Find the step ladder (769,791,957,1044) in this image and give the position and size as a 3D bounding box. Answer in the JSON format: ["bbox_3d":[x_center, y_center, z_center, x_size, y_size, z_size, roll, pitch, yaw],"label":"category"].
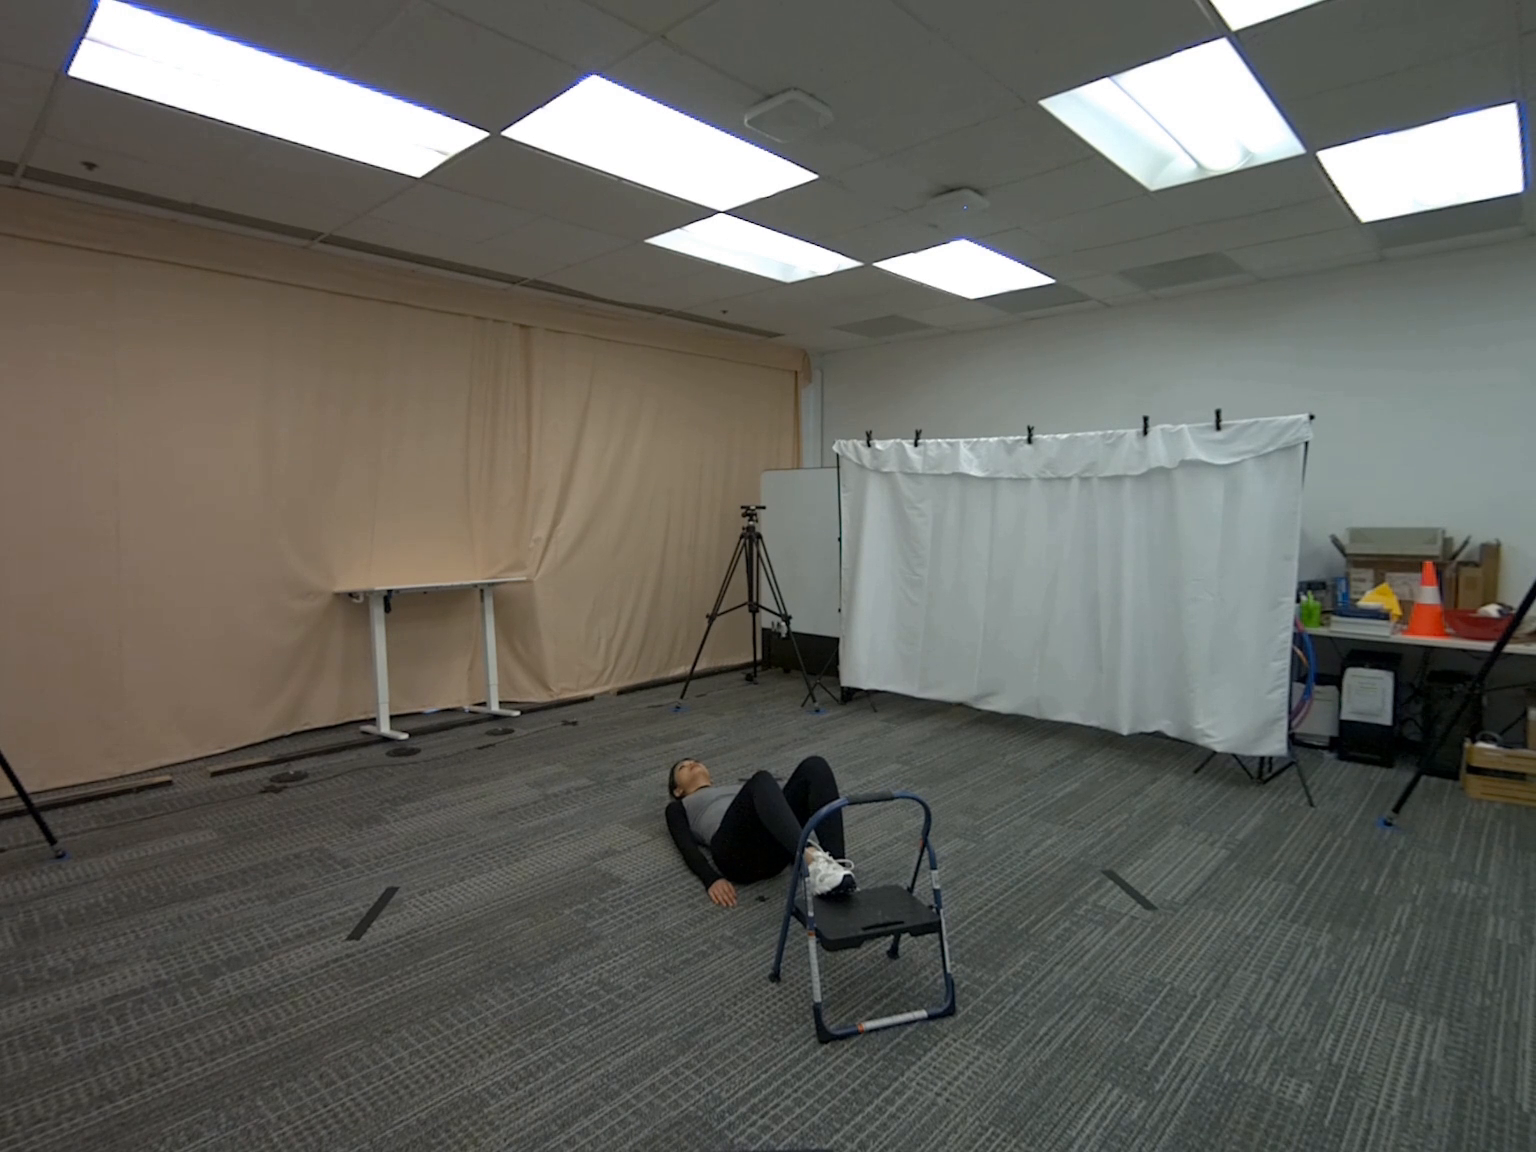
[{"bbox_3d":[0.271,0.894,2.382,0.422,0.605,0.357,-1,3,-21],"label":"step ladder"}]
